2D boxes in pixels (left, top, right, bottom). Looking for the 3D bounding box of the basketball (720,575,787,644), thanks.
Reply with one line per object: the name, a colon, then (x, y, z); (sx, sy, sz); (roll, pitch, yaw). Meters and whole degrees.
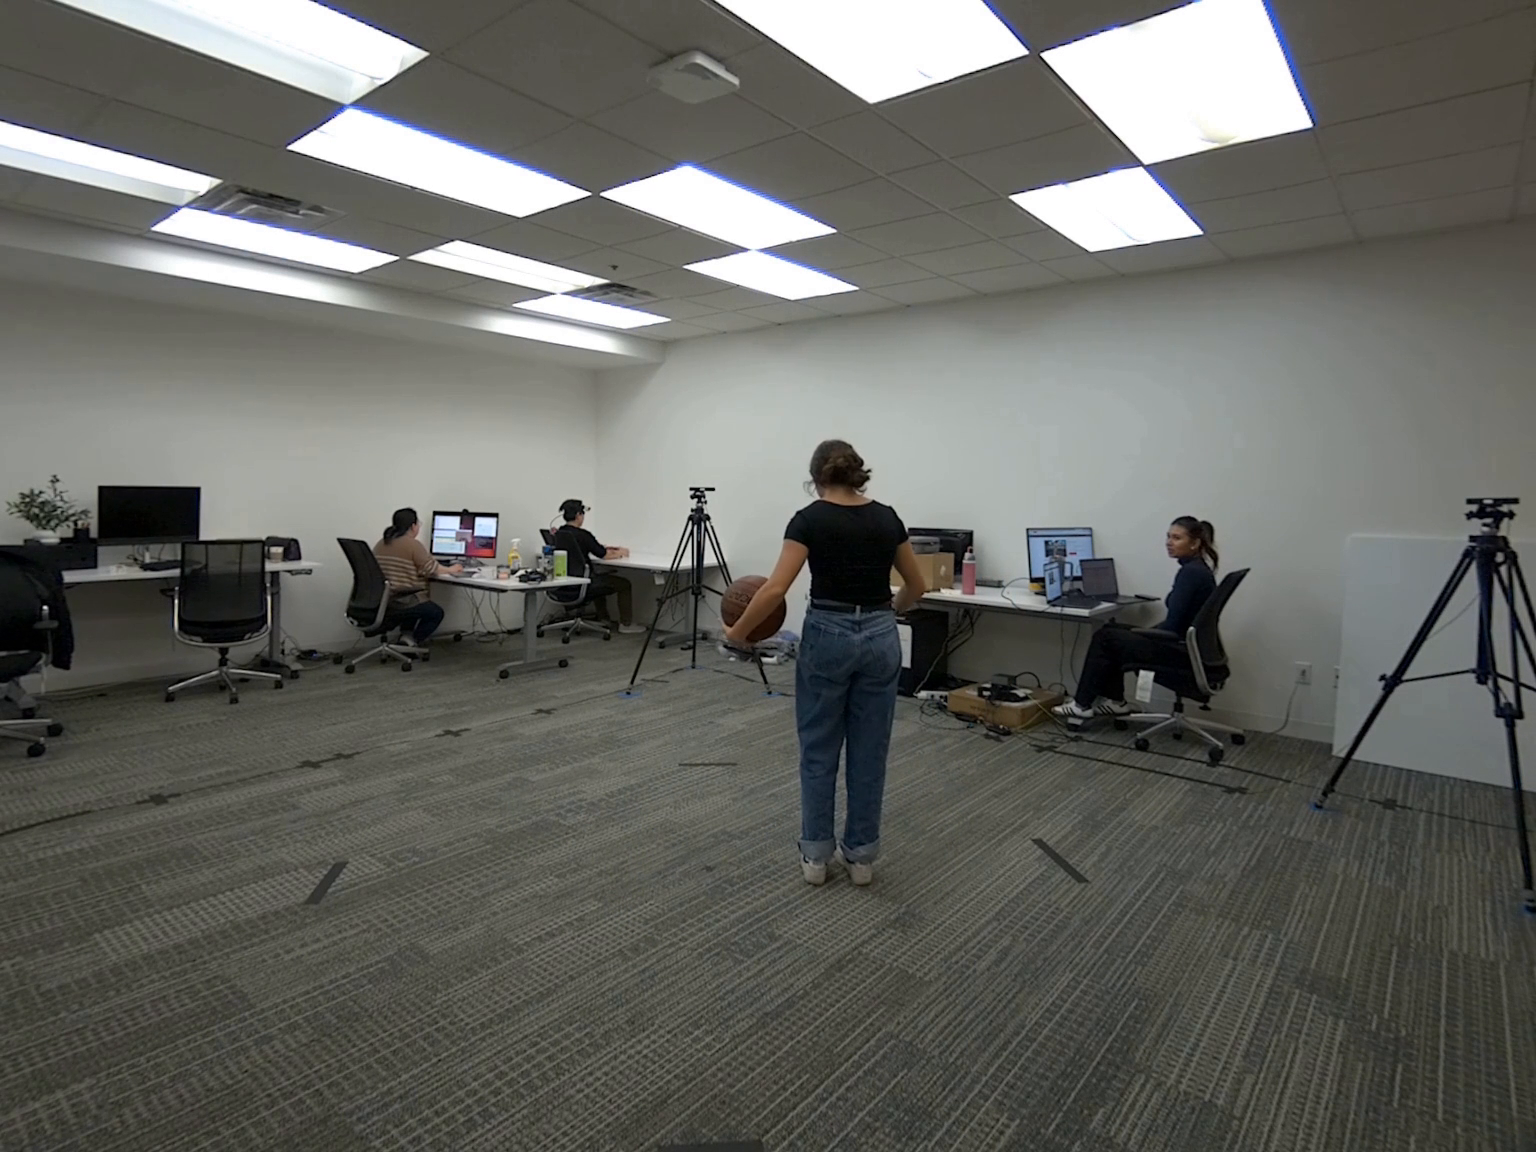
basketball: (-0.055, 0.115, 3.081); (0.235, 0.235, 0.237); (1, 4, -2)
